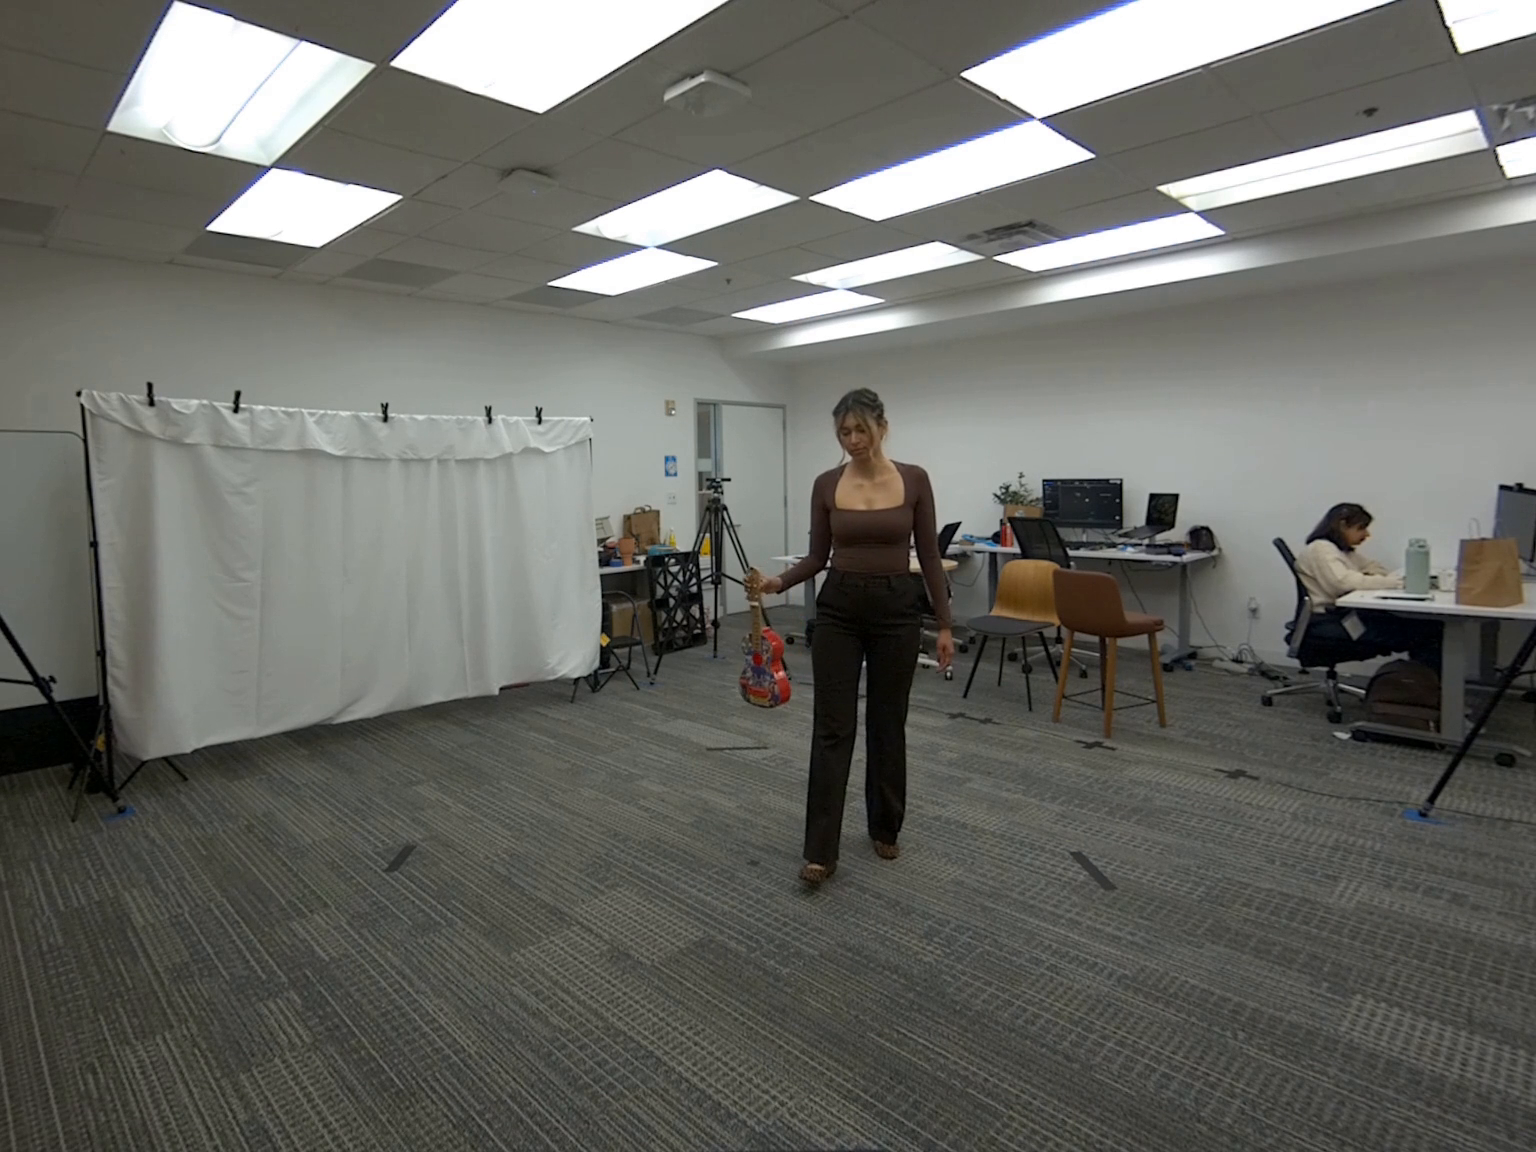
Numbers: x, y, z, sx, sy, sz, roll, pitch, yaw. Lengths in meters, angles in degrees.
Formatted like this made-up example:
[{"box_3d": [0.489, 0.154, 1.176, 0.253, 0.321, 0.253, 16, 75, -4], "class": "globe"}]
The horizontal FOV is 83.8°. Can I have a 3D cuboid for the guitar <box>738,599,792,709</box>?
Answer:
[{"box_3d": [-0.002, 0.220, 2.969, 0.200, 0.491, 0.069, 15, 19, 41], "class": "guitar"}]
